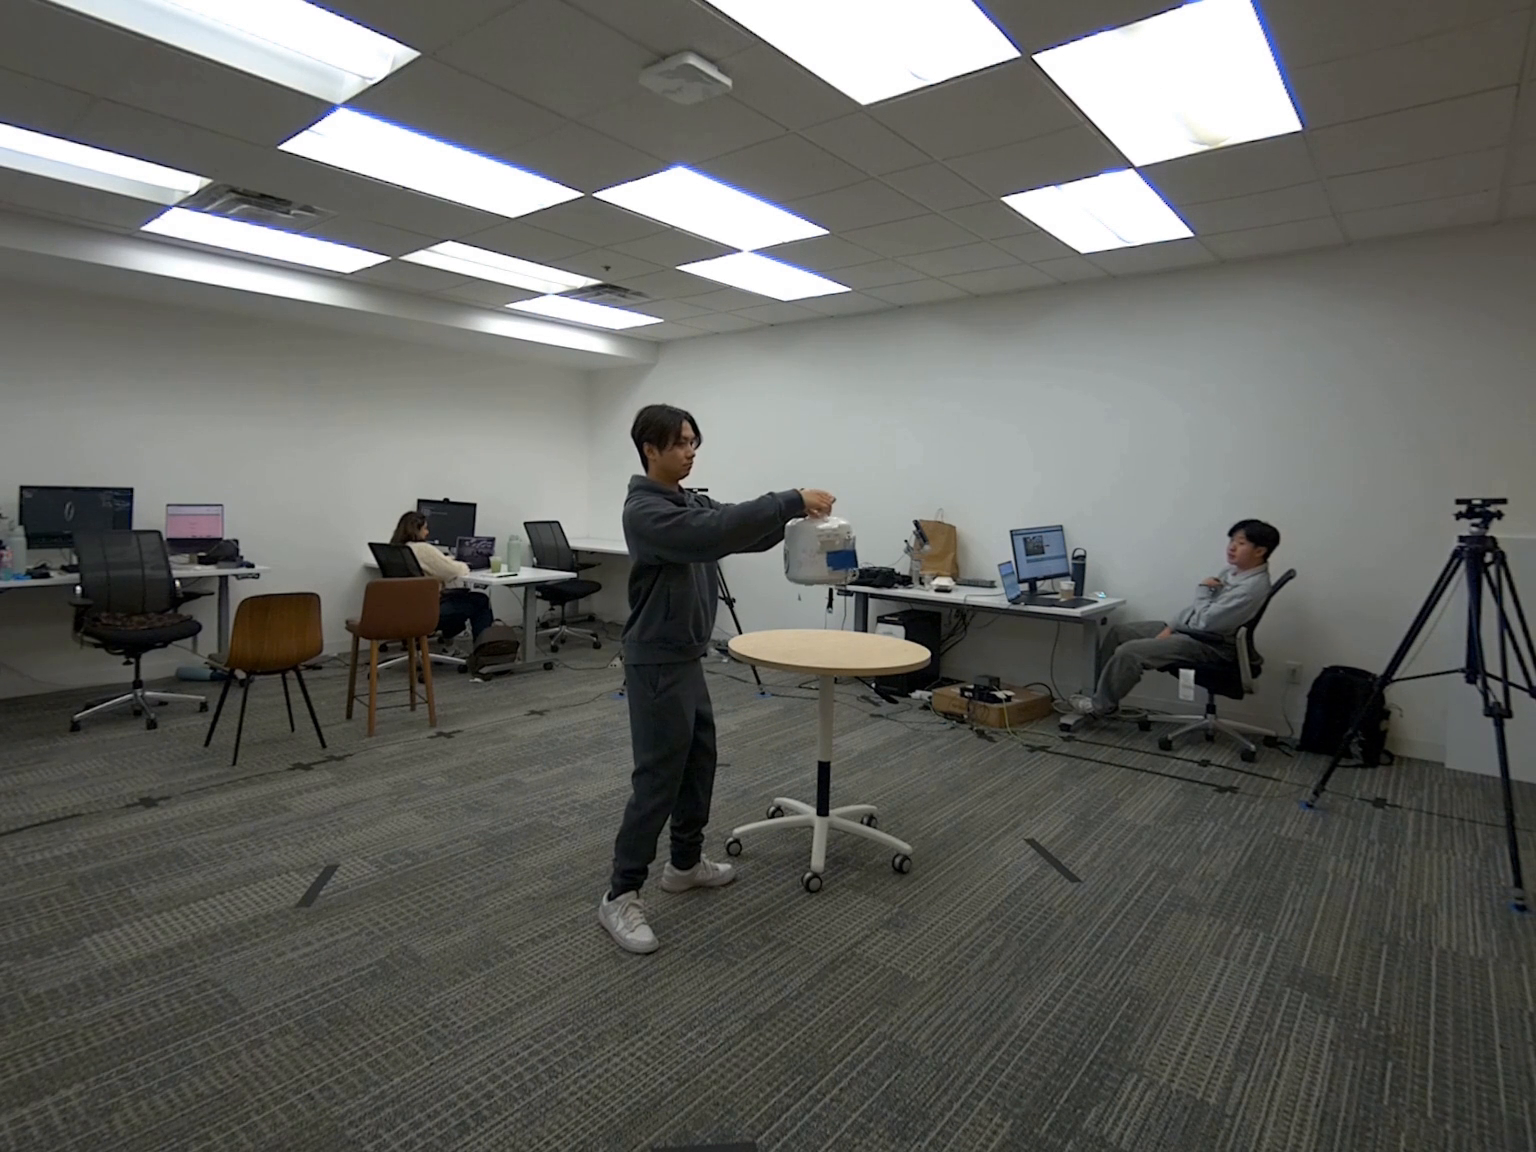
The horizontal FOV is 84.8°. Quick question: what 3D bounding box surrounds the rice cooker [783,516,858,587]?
[{"bbox_3d":[0.150,-0.088,2.683,0.215,0.232,0.223,-1,3,-9],"label":"rice cooker"}]
